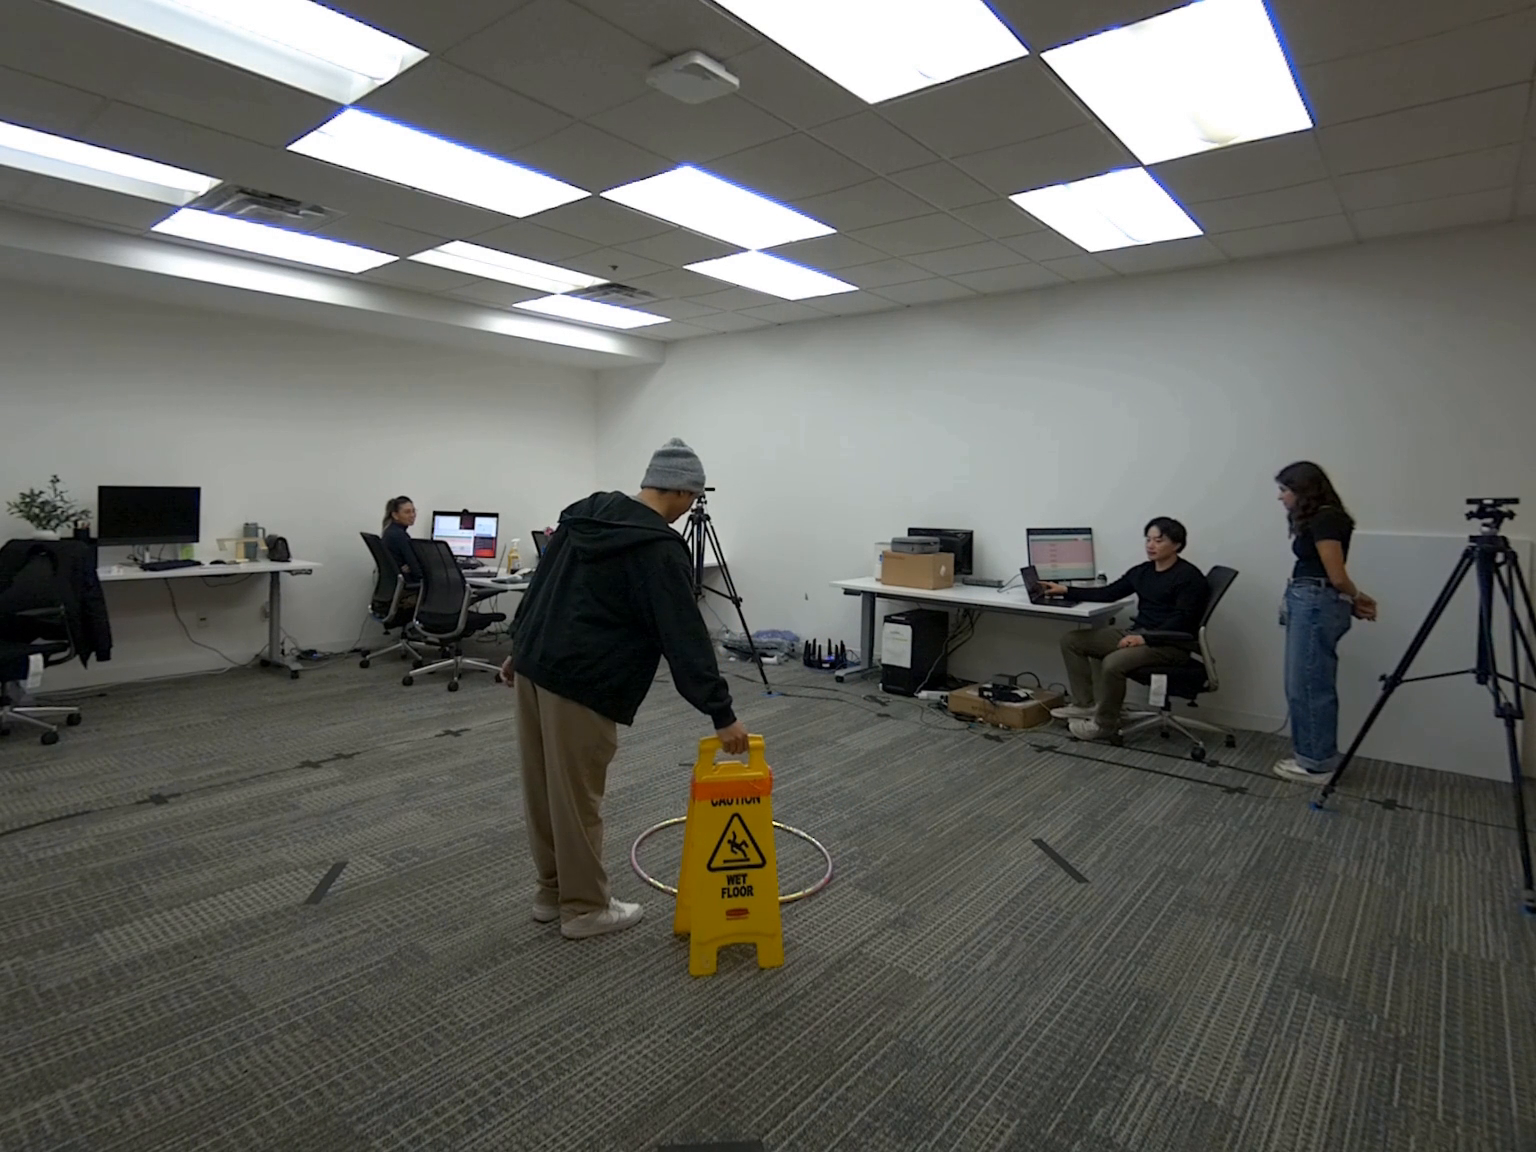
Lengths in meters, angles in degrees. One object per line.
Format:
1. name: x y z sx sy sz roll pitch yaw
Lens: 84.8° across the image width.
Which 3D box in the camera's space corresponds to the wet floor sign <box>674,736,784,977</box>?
1. wet floor sign: -0.131 0.796 2.545 0.278 0.645 0.295 1 3 -16
